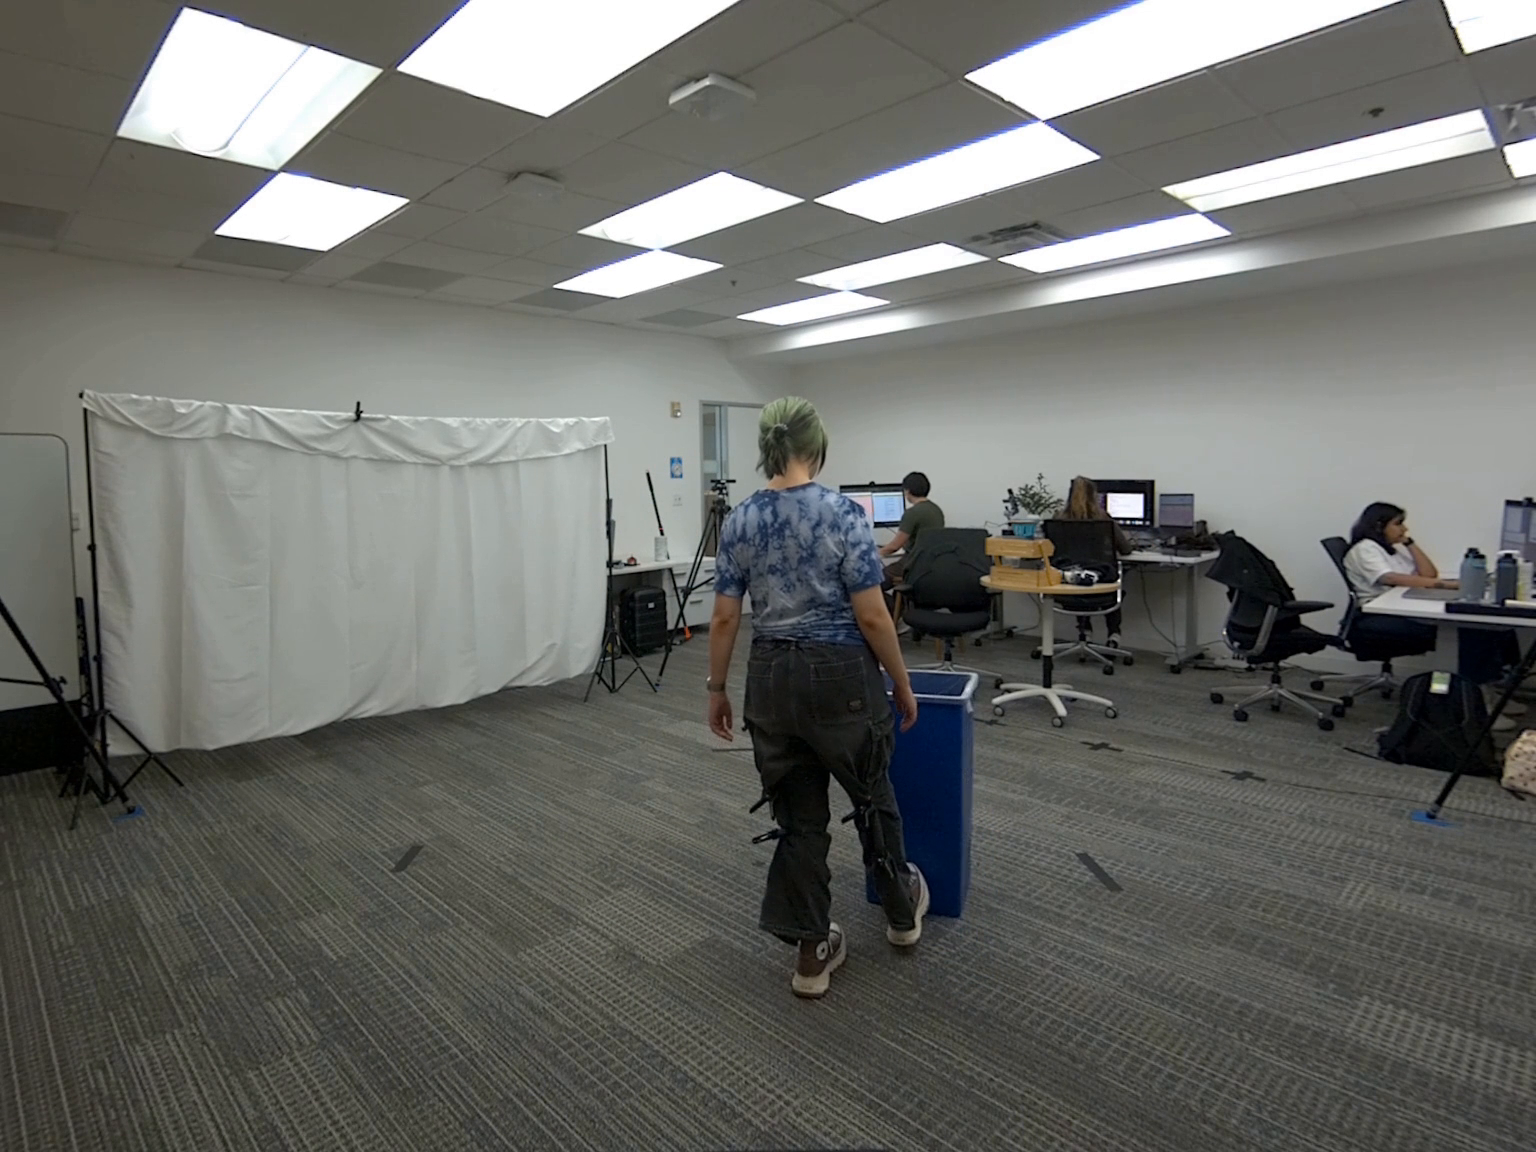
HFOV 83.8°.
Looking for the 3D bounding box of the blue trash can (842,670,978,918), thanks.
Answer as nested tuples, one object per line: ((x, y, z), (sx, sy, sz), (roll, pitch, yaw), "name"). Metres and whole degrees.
((0.506, 0.707, 2.871), (0.382, 0.712, 0.371), (0, 3, 21), "blue trash can")
